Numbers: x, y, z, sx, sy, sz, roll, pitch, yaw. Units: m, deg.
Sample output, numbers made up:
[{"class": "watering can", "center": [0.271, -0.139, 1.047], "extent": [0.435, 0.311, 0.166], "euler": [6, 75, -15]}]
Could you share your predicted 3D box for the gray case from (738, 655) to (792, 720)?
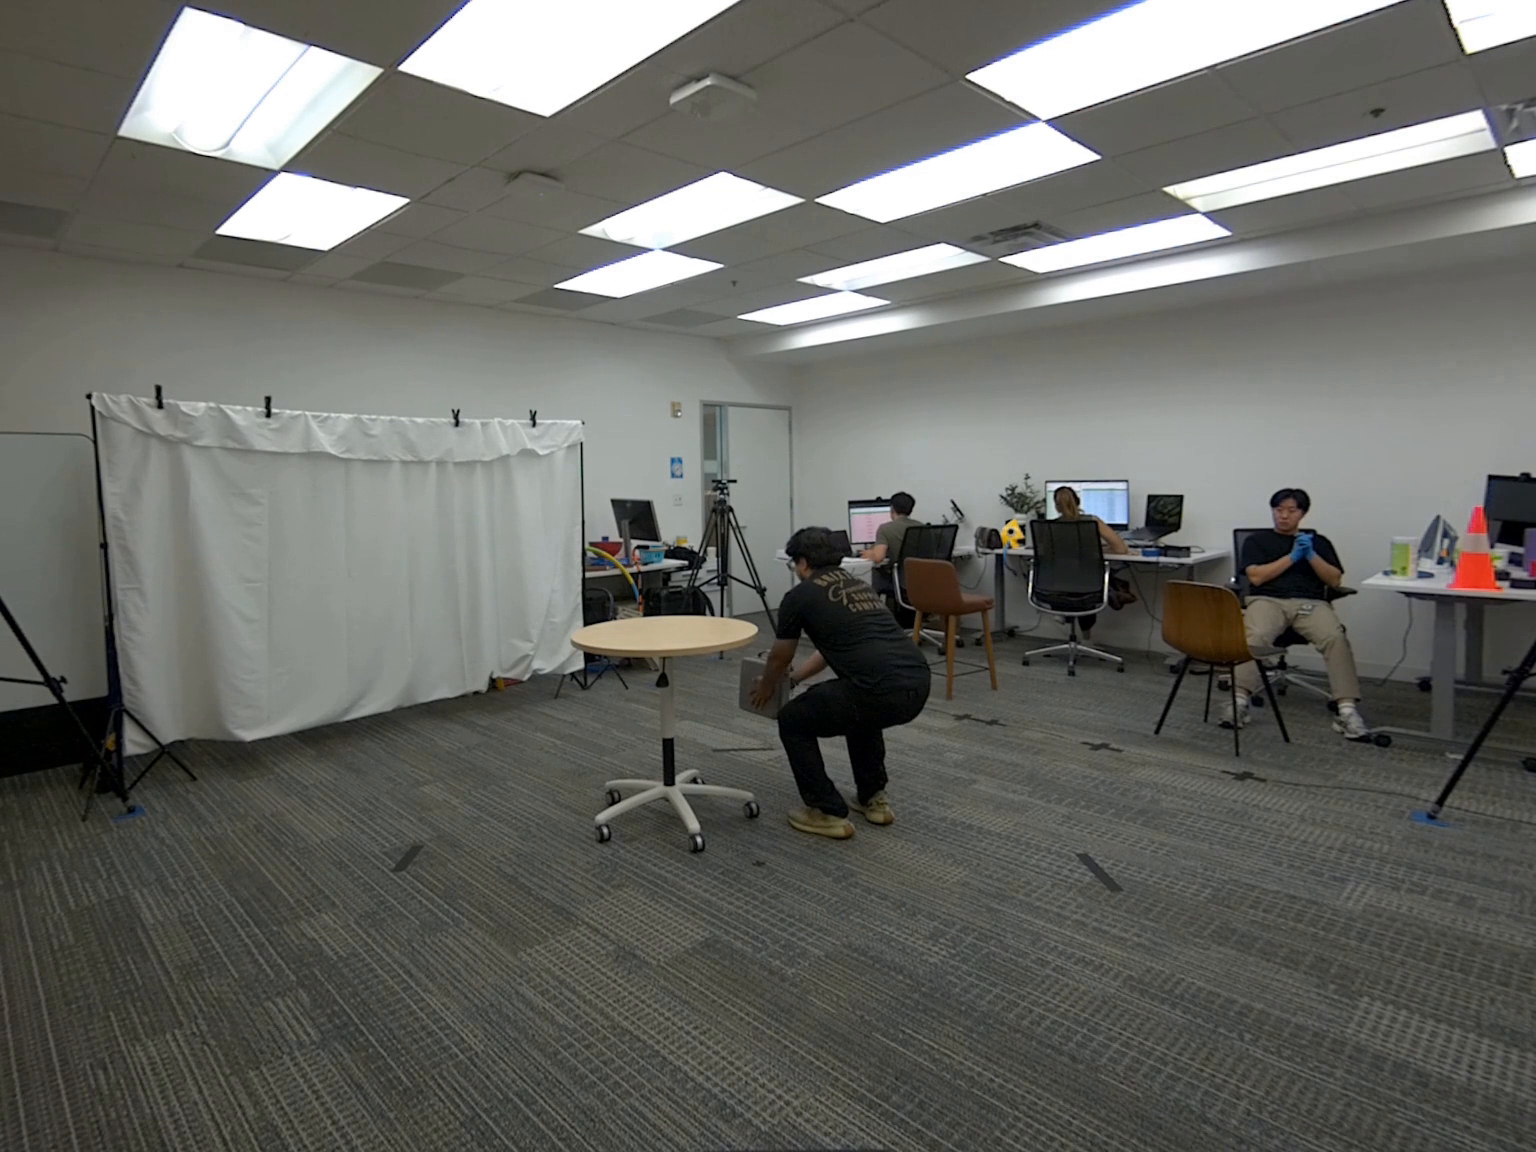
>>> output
[{"class": "gray case", "center": [-0.014, 0.502, 3.917], "extent": [0.101, 0.260, 0.265], "euler": [1, 4, -42]}]
